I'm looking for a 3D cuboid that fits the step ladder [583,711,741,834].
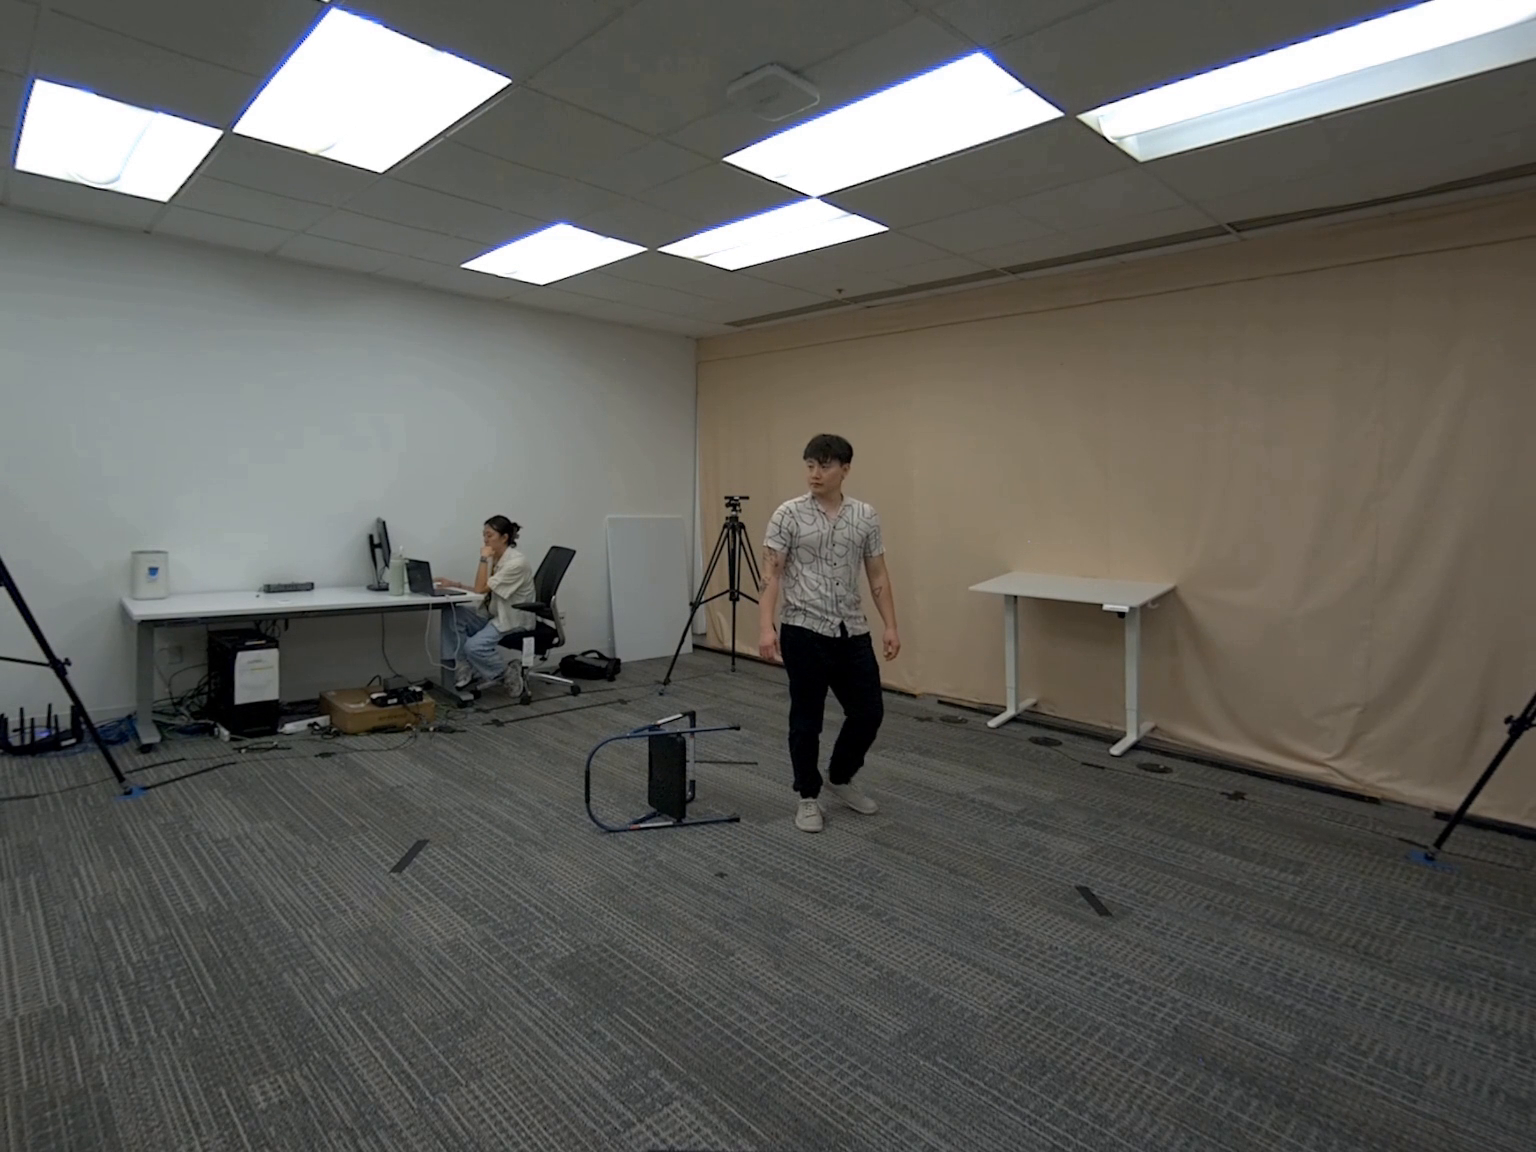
[{"bbox_3d":[-0.470,0.846,3.558,0.592,0.430,0.358,-2,4,-38],"label":"step ladder"}]
